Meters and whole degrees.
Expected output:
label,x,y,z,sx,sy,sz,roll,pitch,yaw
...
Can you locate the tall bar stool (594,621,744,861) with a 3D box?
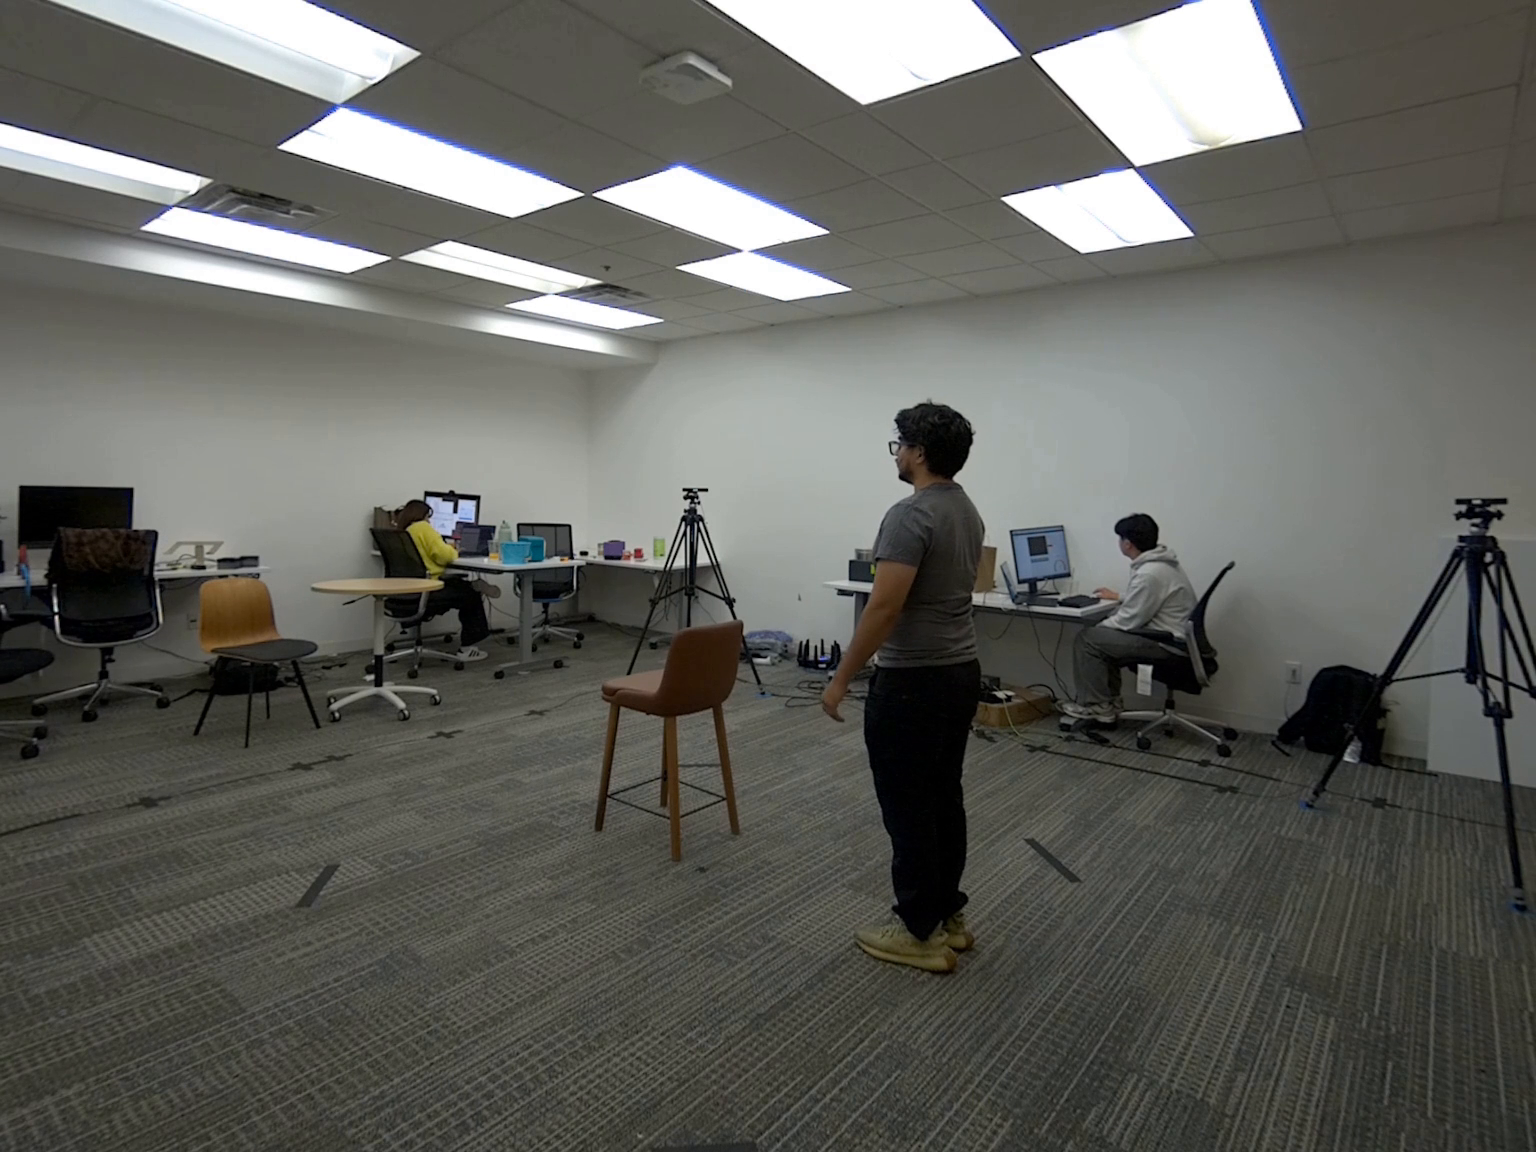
label,x,y,z,sx,sy,sz,roll,pitch,yaw
tall bar stool,-0.403,0.600,3.431,0.483,0.887,0.443,6,5,39
